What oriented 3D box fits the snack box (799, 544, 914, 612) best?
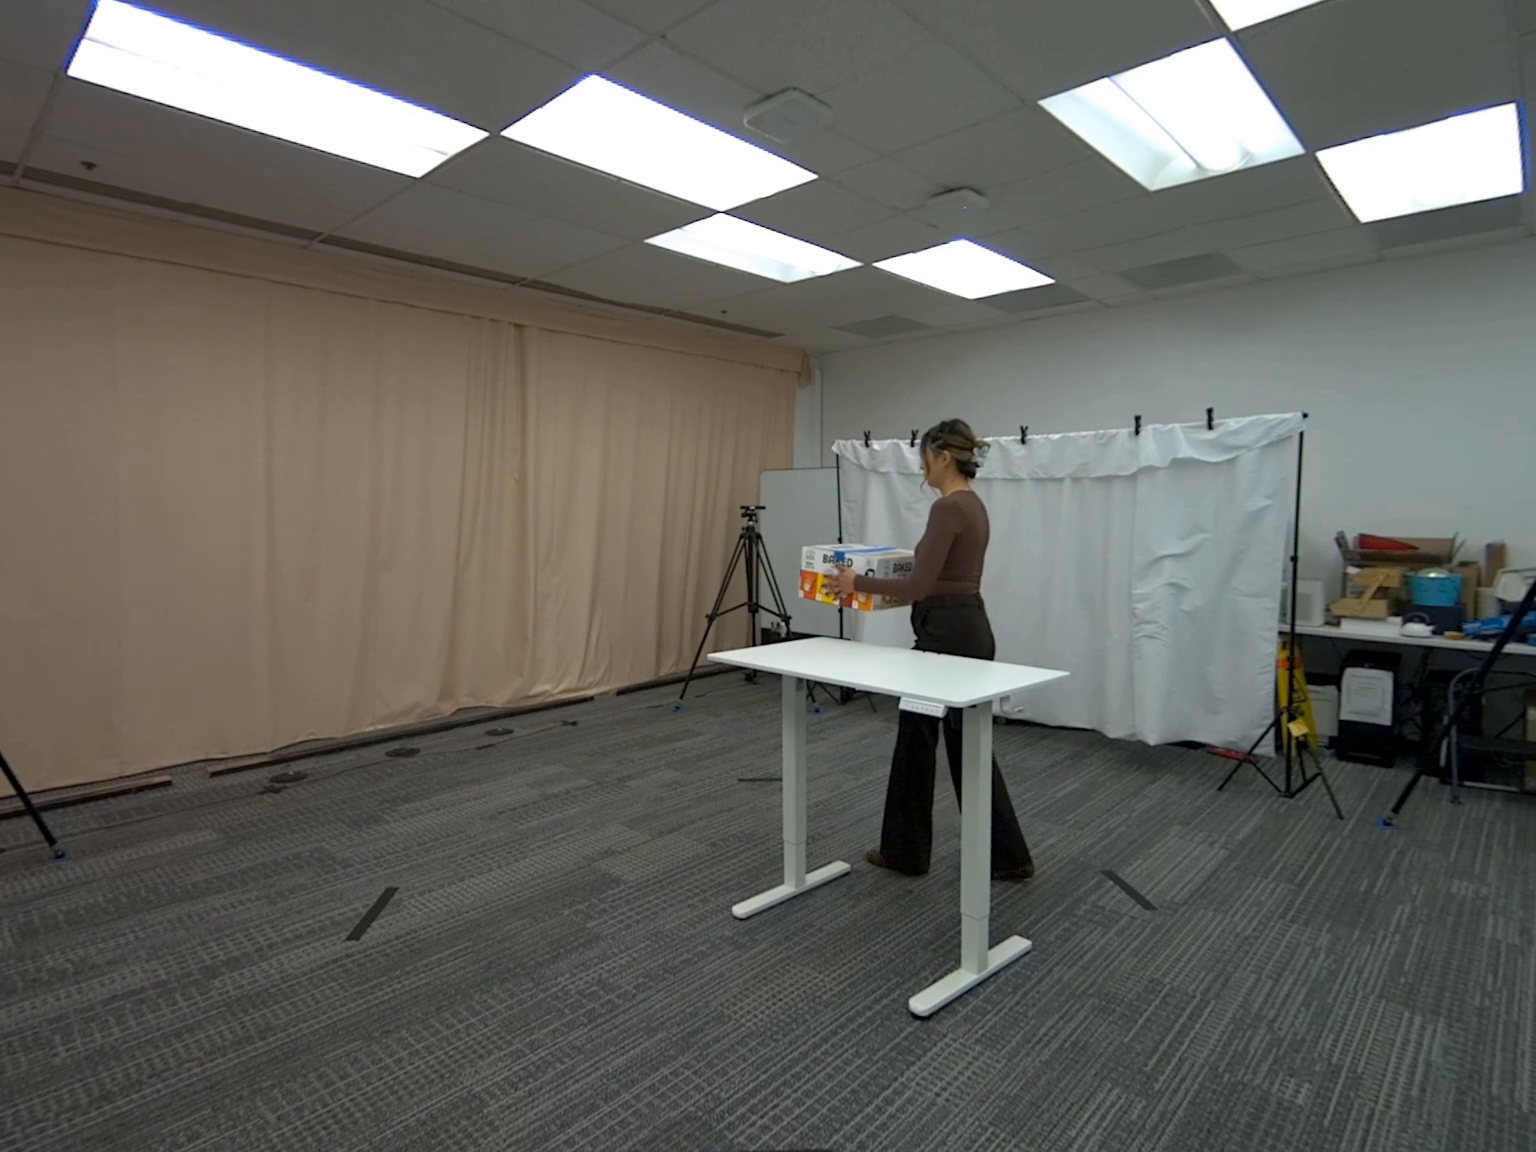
[{"bbox_3d":[0.387,-0.003,3.347,0.352,0.205,0.393,11,10,40],"label":"snack box"}]
